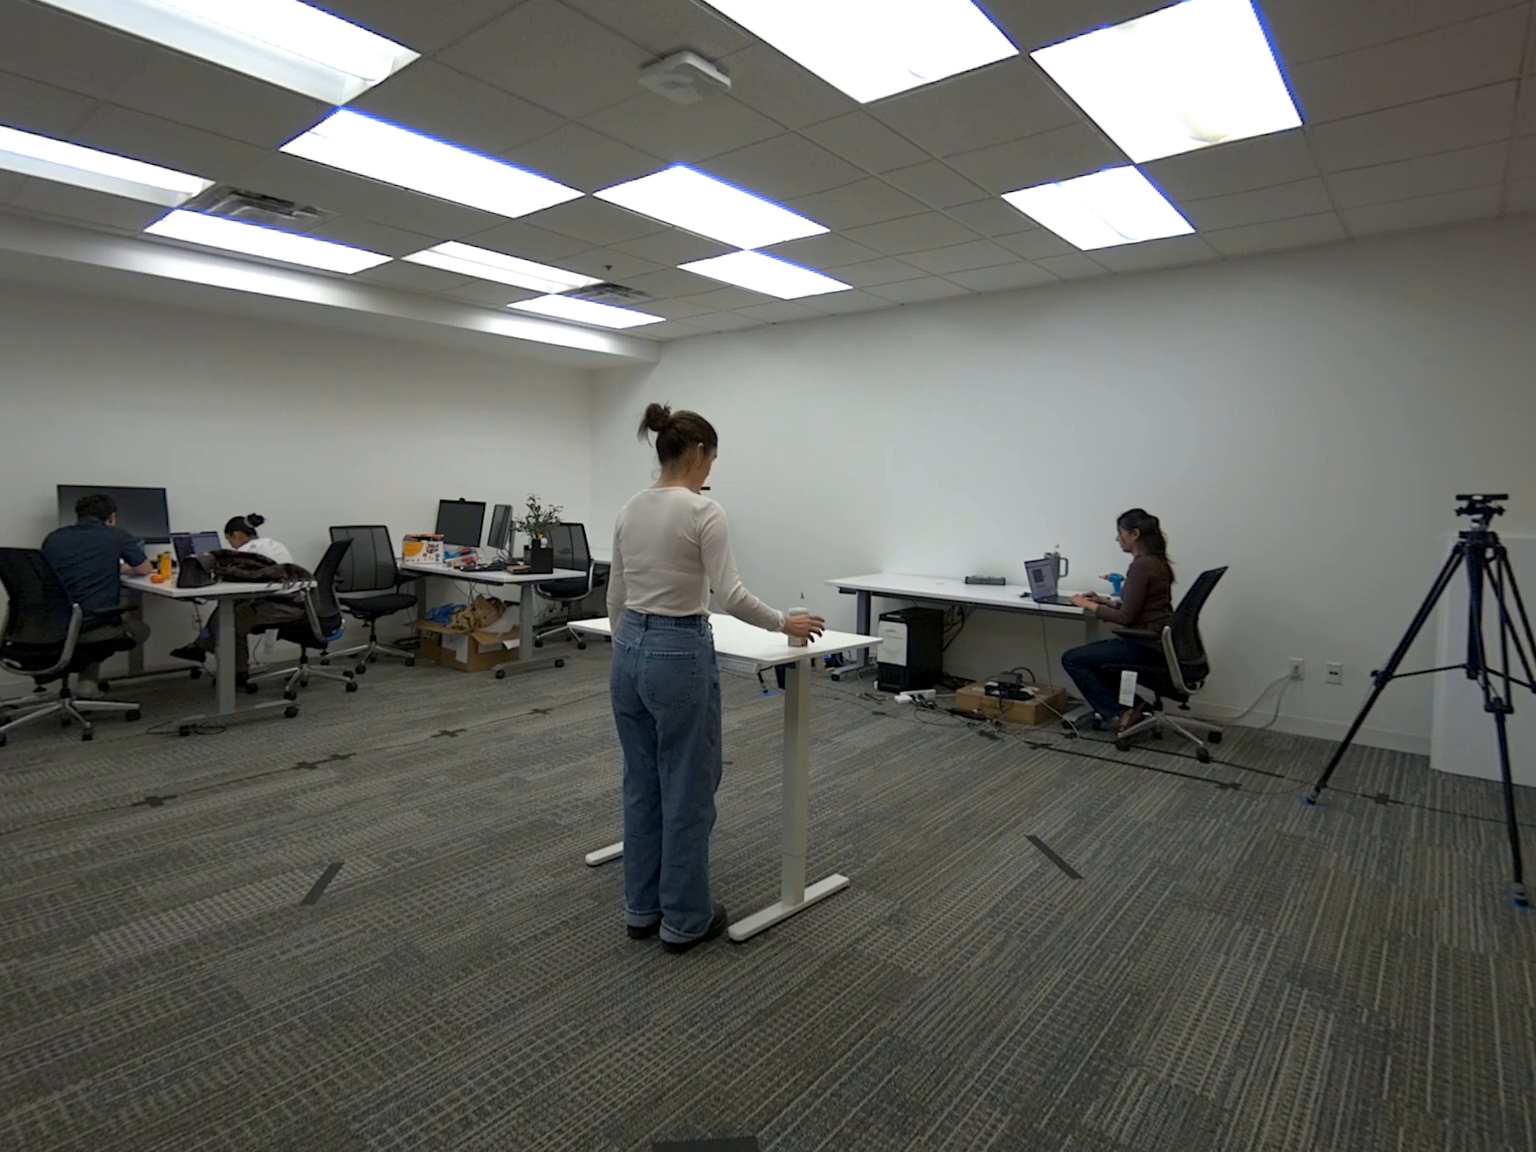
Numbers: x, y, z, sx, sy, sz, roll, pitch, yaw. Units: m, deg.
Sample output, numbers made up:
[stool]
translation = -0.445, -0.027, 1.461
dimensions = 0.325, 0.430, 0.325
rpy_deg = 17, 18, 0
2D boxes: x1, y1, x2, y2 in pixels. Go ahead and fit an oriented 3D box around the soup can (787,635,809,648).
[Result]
[soup can]
translation = 0.069, 0.191, 2.699
dimensions = 0.120, 0.067, 0.068
rpy_deg = 3, 4, -10
